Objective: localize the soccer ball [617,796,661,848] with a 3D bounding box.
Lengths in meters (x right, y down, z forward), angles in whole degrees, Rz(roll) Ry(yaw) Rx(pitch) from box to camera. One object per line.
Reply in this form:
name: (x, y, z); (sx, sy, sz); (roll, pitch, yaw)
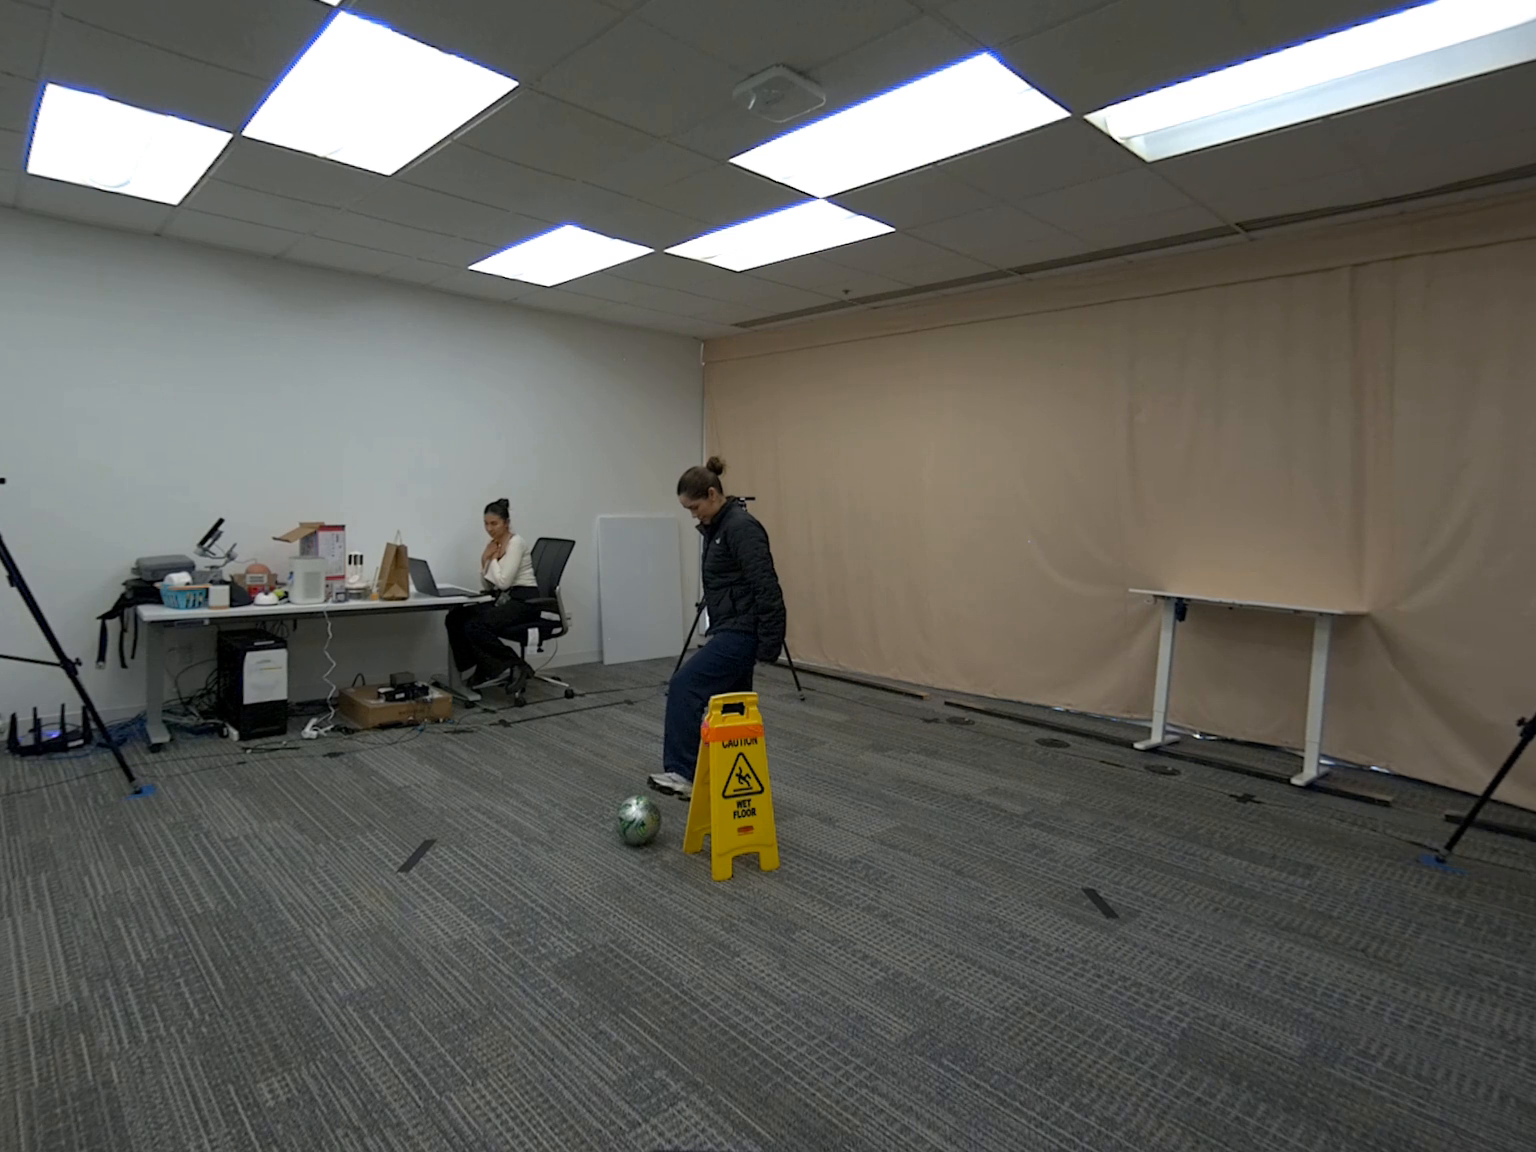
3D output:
soccer ball: (-0.522, 0.971, 3.373); (0.187, 0.187, 0.188); (1, 4, -1)
